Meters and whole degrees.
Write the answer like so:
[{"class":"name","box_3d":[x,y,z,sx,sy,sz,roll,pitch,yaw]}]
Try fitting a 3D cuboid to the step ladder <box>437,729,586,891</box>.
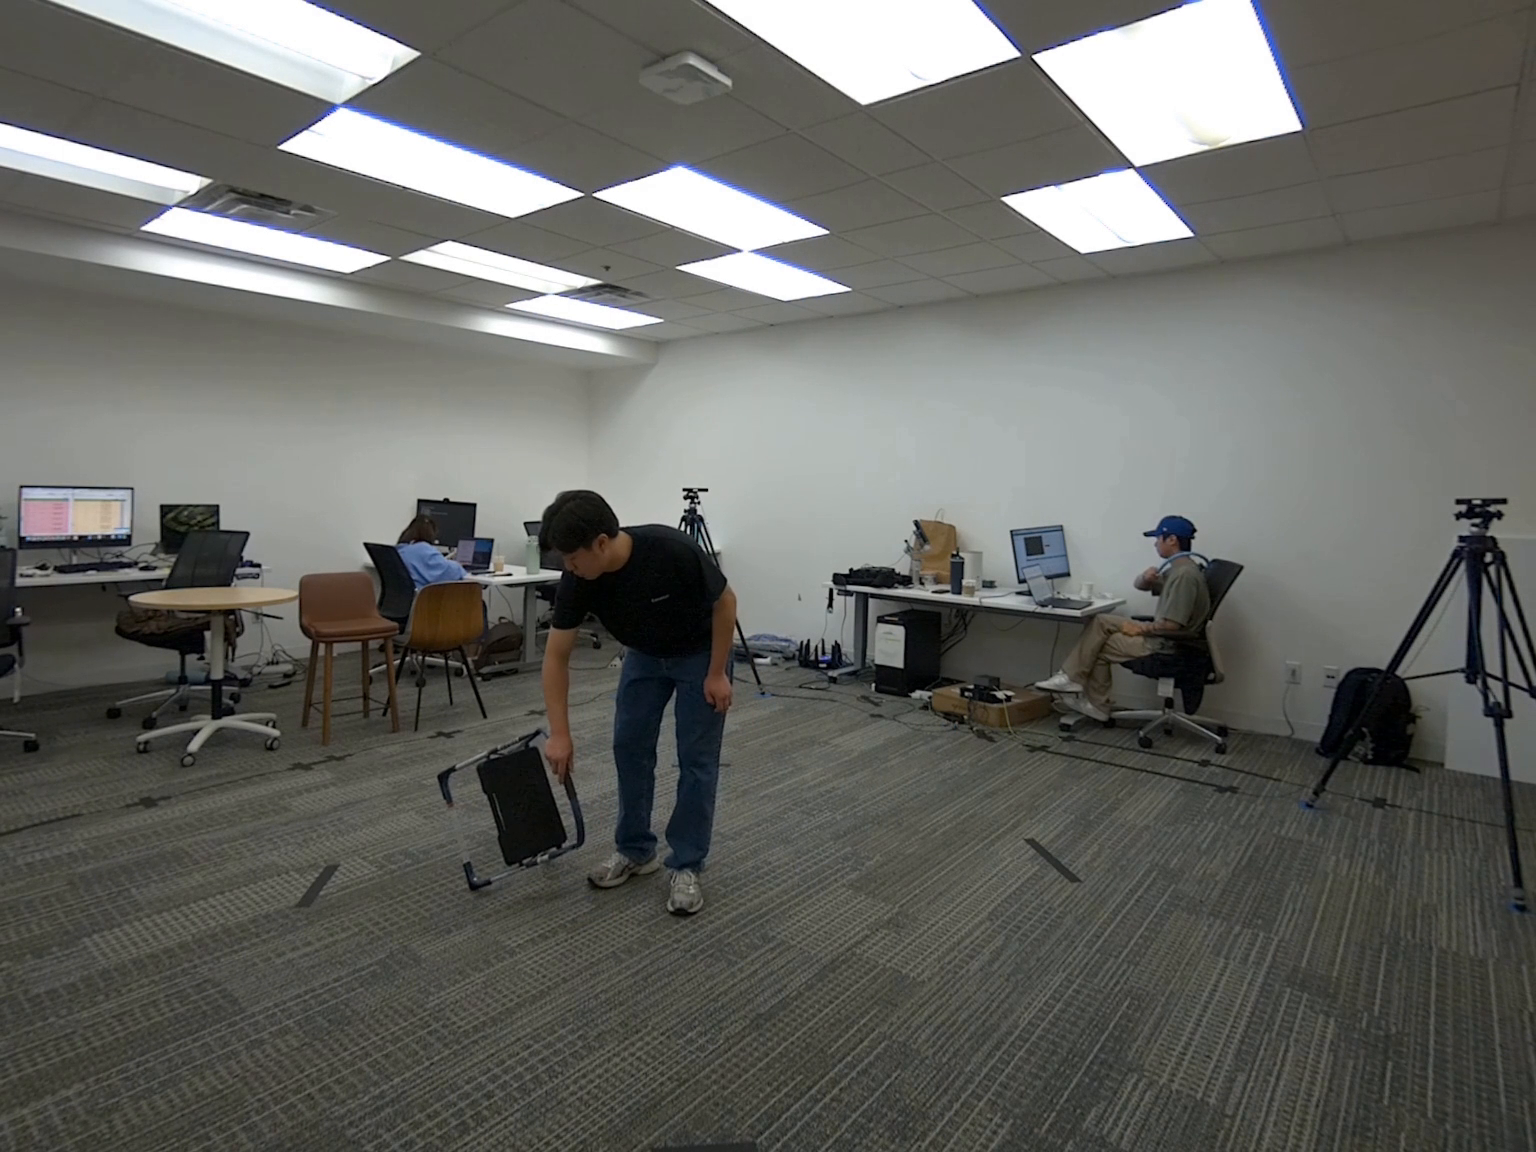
[{"class":"step ladder","box_3d":[-0.805,0.753,2.920,0.612,0.438,0.340,-32,-15,37]}]
